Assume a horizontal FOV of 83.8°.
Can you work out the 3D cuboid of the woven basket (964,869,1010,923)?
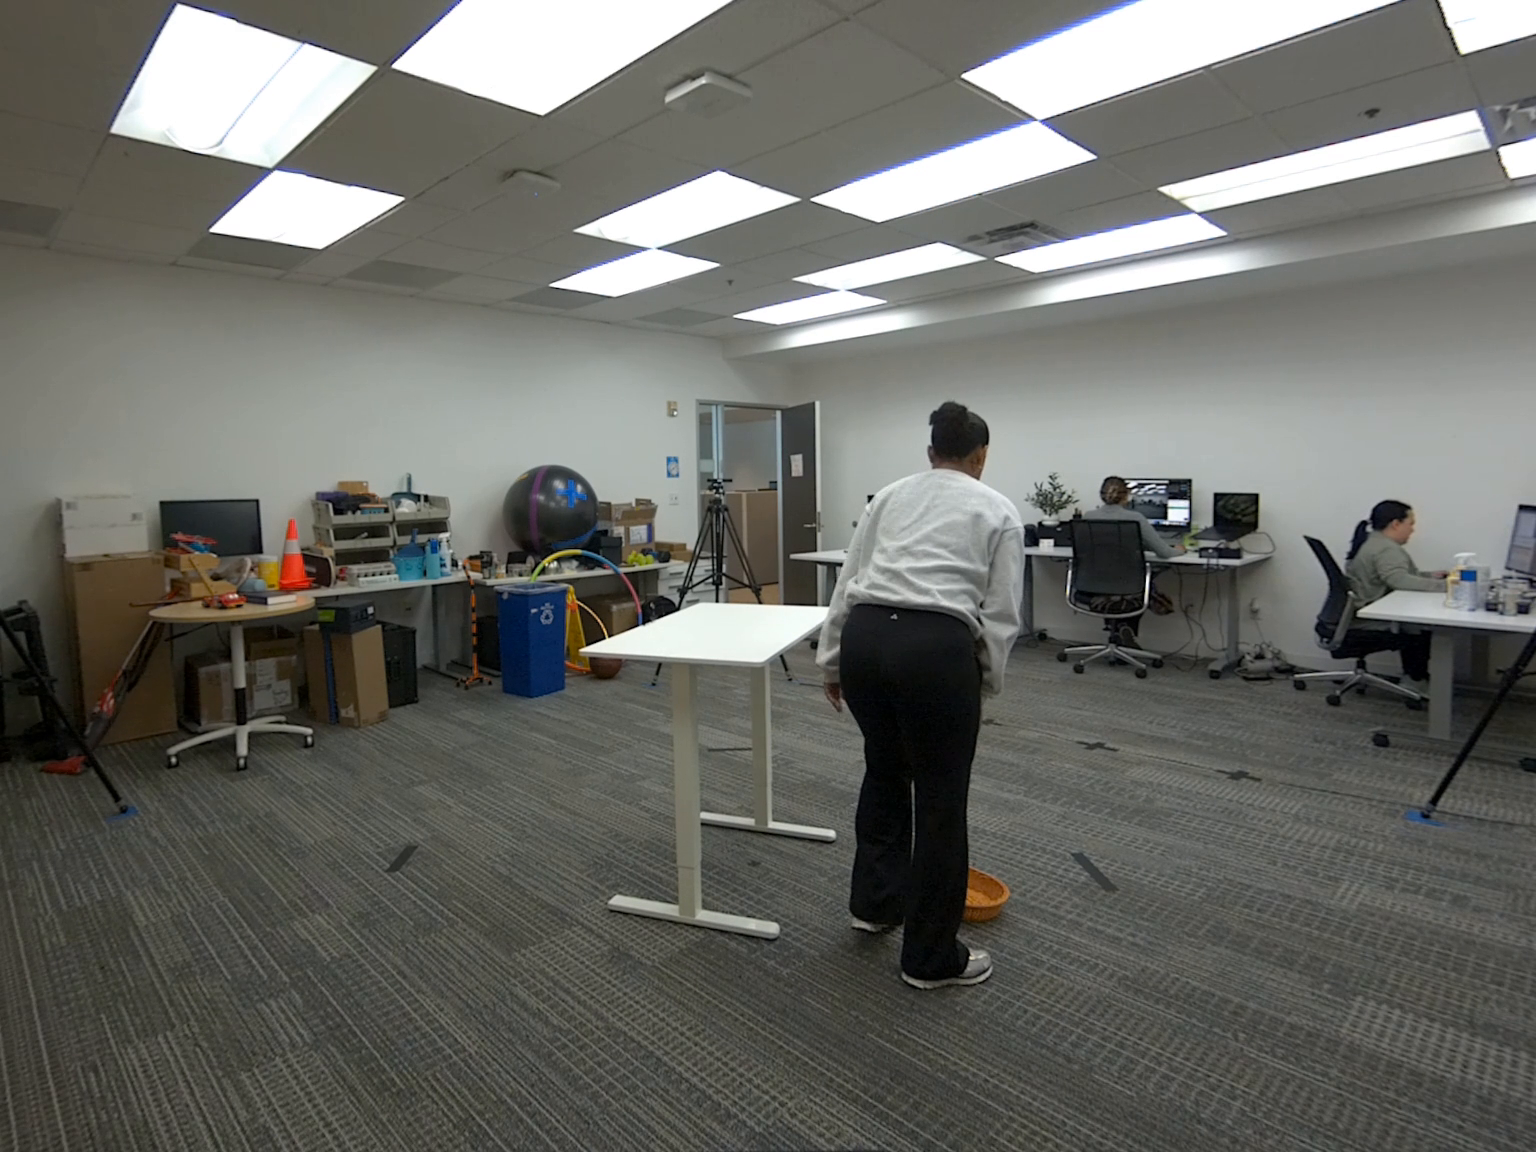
[{"bbox_3d":[0.619,1.028,2.799,0.246,0.073,0.361,-6,8,-40],"label":"woven basket"}]
